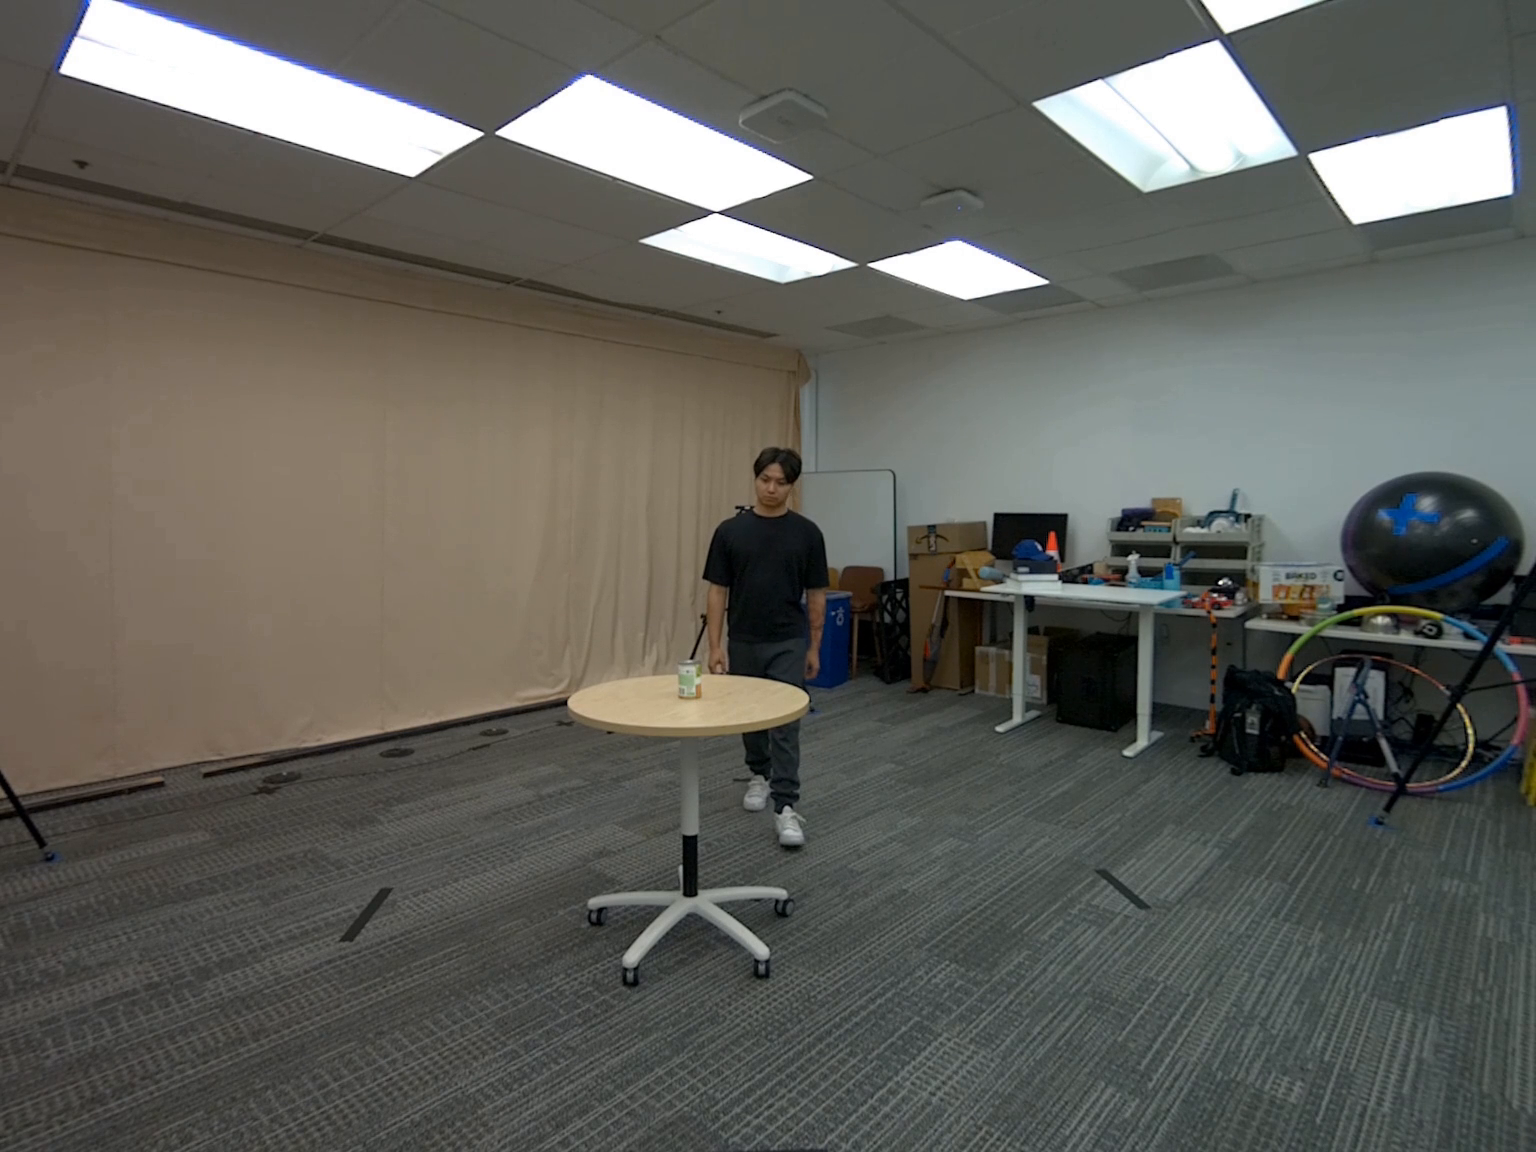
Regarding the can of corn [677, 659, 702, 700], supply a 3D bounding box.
[{"bbox_3d":[-0.247,0.330,2.690,0.074,0.111,0.074,0,2,-2],"label":"can of corn"}]
